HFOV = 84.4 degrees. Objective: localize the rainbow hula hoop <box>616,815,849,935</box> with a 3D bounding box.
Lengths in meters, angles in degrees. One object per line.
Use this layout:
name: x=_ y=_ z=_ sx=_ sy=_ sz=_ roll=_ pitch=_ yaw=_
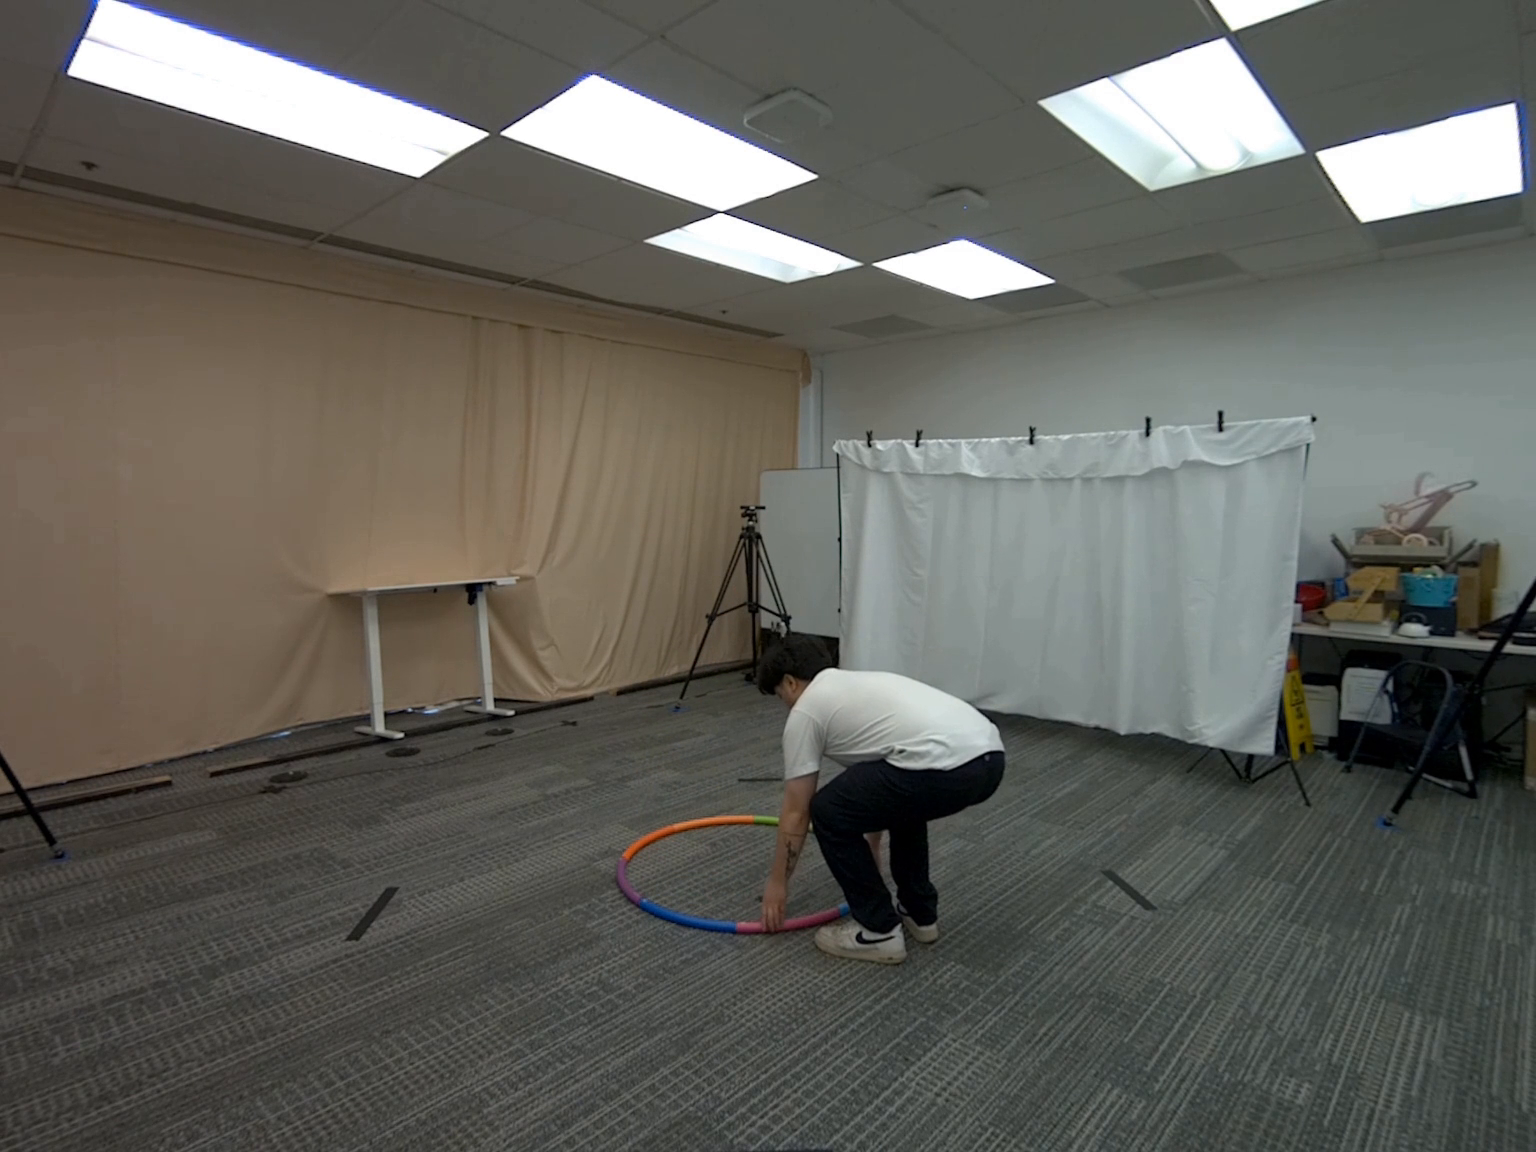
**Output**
rainbow hula hoop: x=-0.080 y=1.099 z=3.222 sx=0.984 sy=0.051 sz=0.989 roll=0 pitch=5 yaw=-2
